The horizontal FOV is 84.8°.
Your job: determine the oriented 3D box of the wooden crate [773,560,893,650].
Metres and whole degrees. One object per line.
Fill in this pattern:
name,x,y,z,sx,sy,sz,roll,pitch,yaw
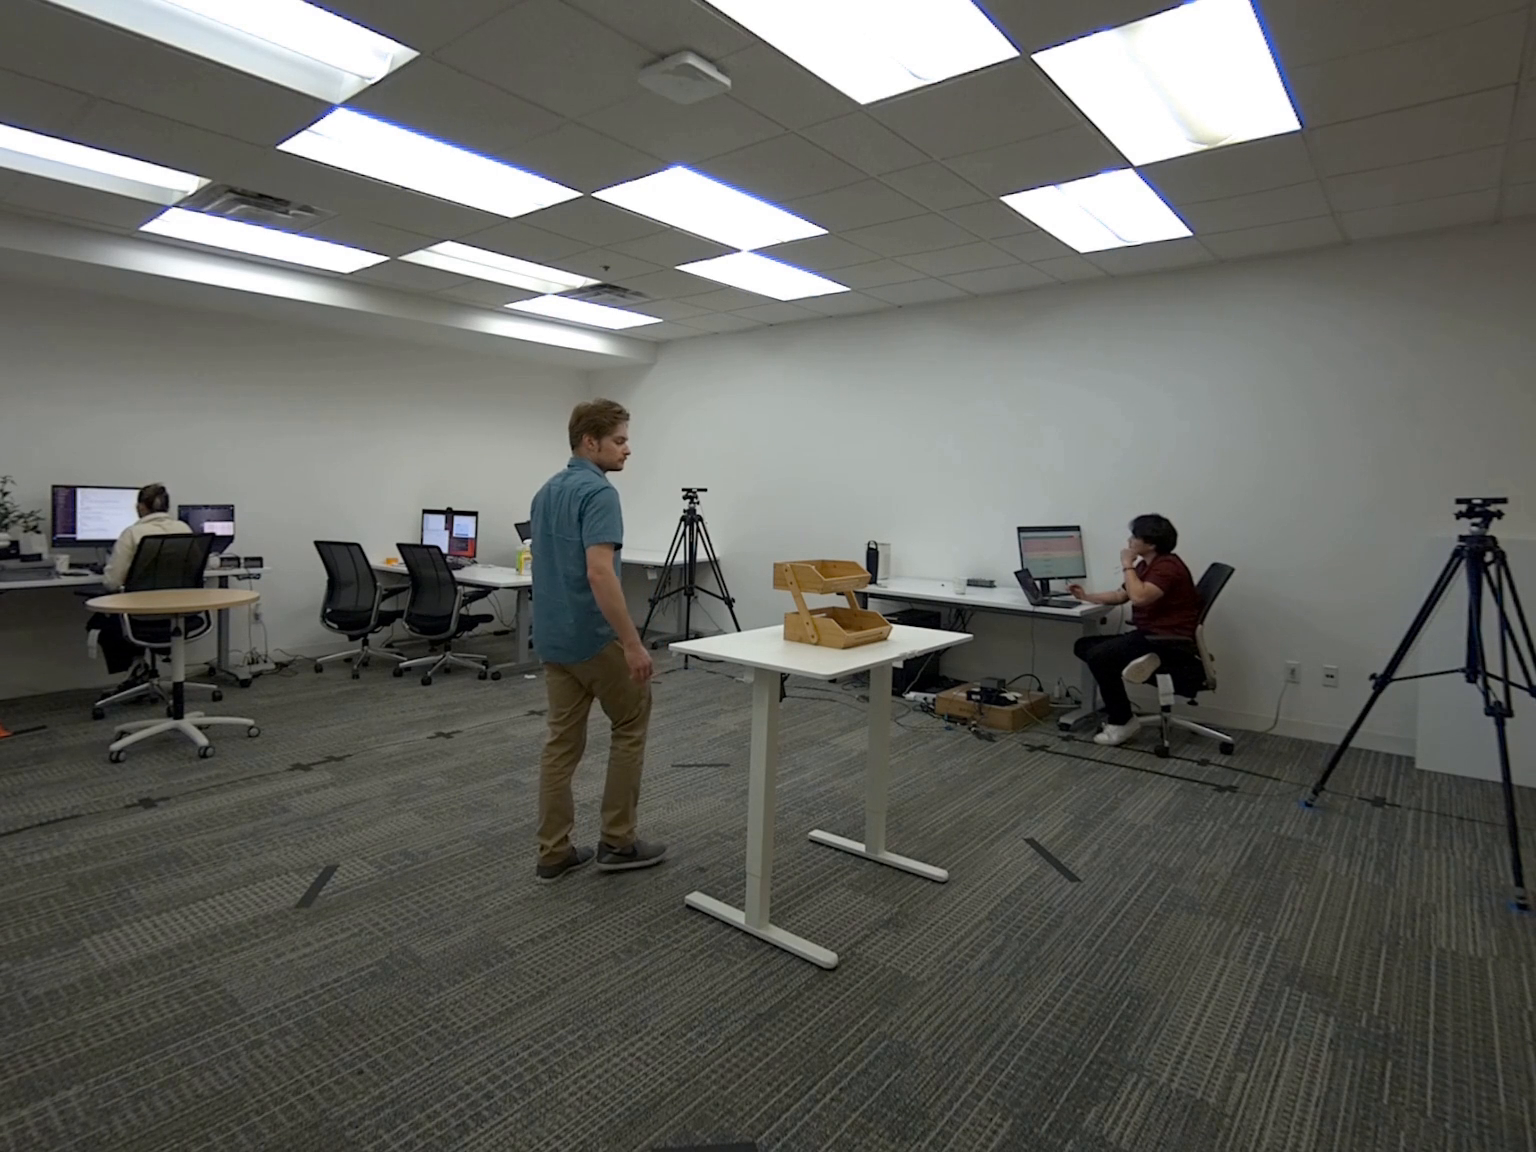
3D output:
wooden crate,0.221,0.084,2.916,0.312,0.272,0.315,4,5,39
